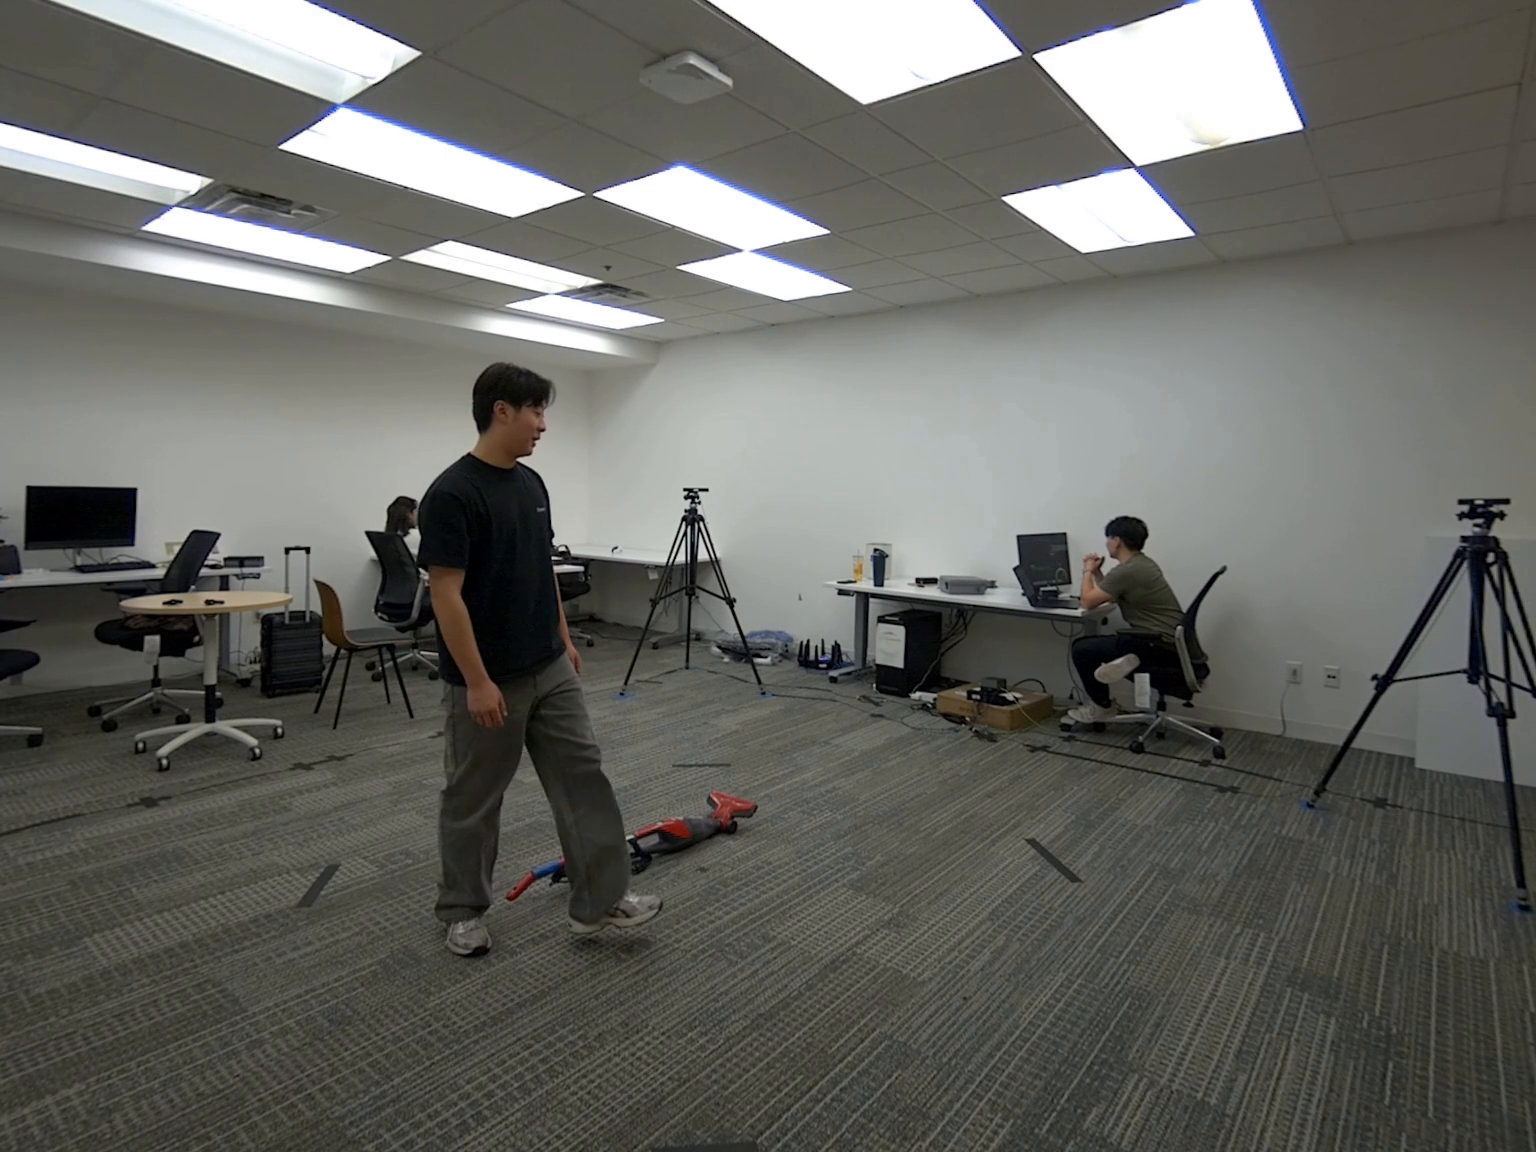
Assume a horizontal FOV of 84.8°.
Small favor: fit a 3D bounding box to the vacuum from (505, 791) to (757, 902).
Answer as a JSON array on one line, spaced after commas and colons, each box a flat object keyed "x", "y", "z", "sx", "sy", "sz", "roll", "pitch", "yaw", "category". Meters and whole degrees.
[{"x": -0.501, "y": 1.008, "z": 3.128, "sx": 0.261, "sy": 0.143, "sz": 1.018, "roll": 6, "pitch": 7, "yaw": 41, "category": "vacuum"}]
